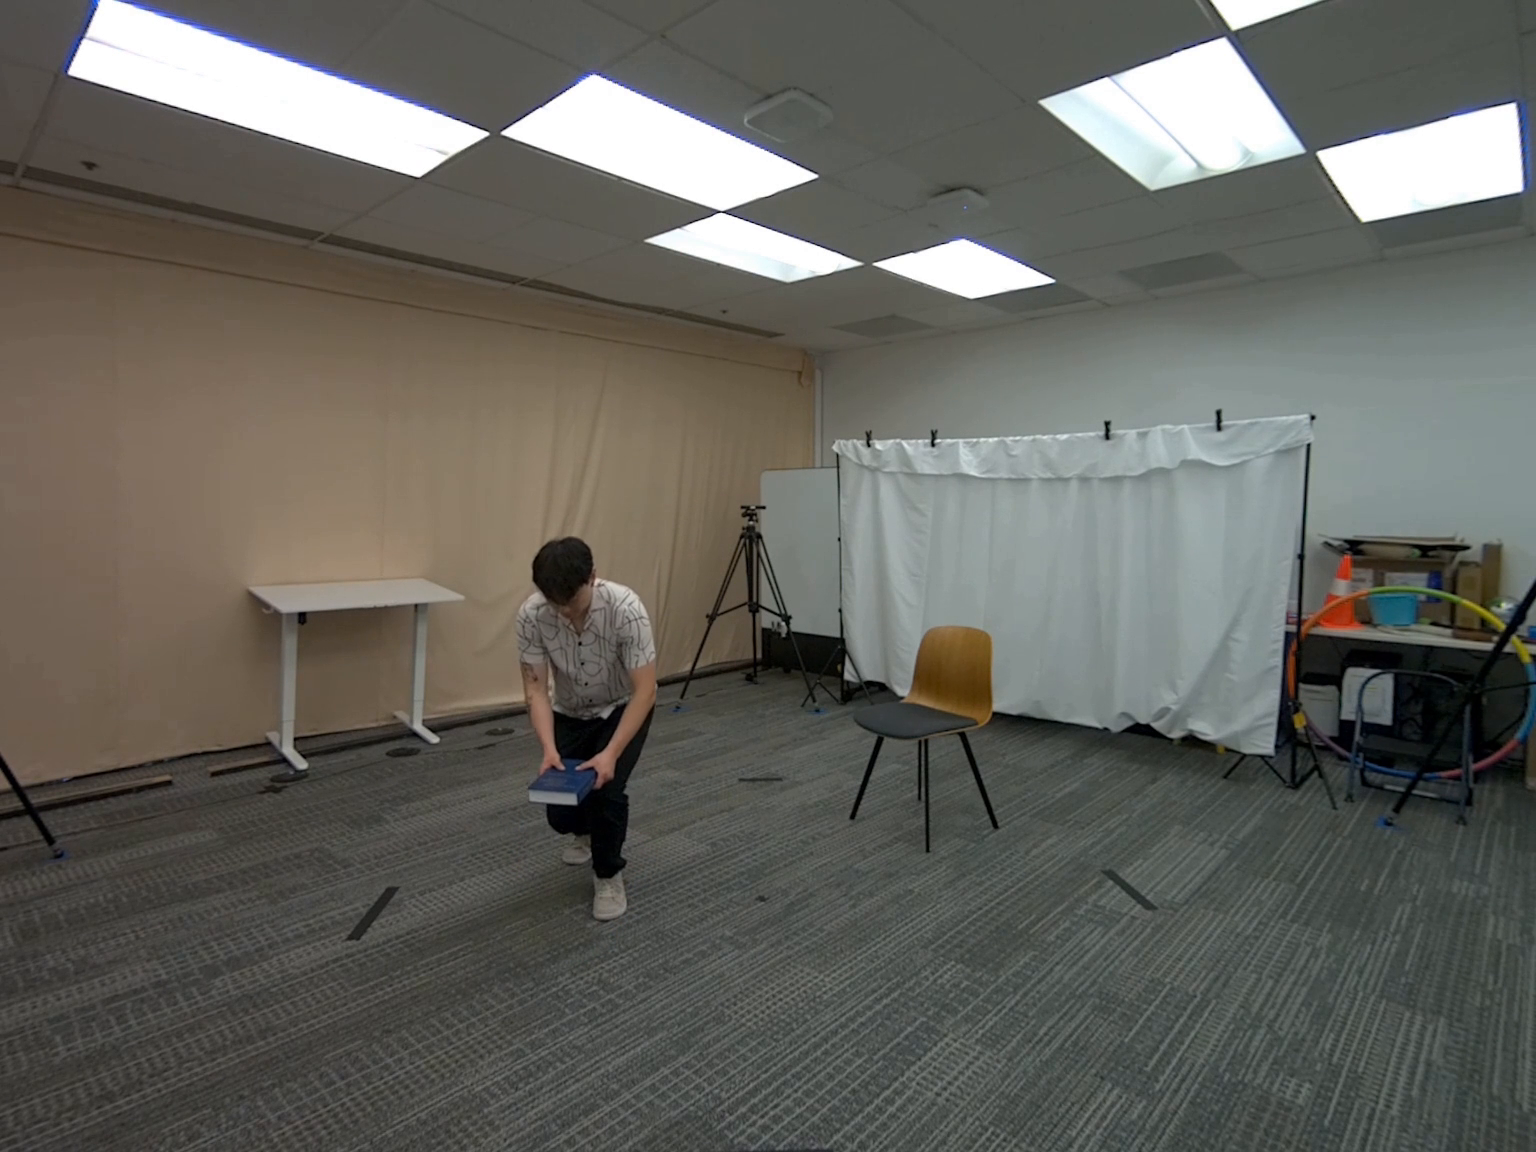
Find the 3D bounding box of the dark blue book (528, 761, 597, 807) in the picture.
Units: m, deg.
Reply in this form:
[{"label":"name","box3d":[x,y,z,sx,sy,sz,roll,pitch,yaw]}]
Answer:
[{"label":"dark blue book","box3d":[-0.621,0.646,2.643,0.165,0.045,0.244,0,8,7]}]
